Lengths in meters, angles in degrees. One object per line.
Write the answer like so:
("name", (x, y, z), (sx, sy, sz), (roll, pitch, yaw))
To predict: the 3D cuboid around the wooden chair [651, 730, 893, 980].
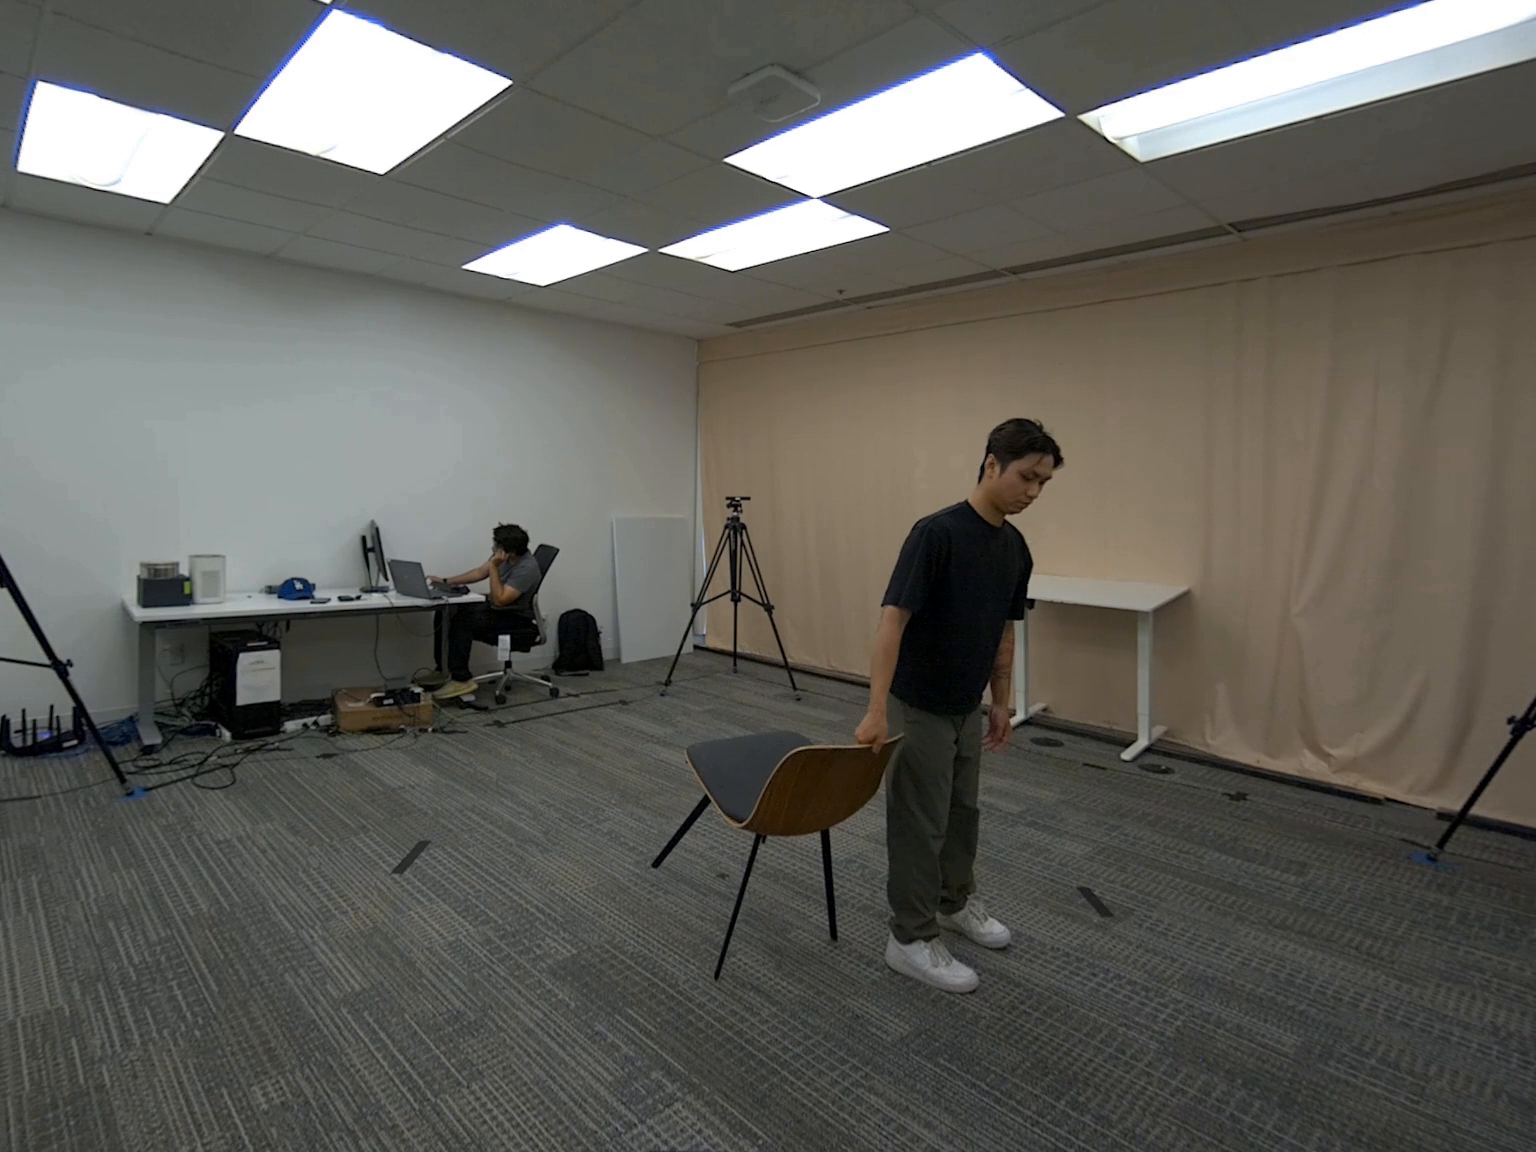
("wooden chair", (0.014, 0.676, 2.556), (0.468, 0.868, 0.540), (0, 31, -33))
